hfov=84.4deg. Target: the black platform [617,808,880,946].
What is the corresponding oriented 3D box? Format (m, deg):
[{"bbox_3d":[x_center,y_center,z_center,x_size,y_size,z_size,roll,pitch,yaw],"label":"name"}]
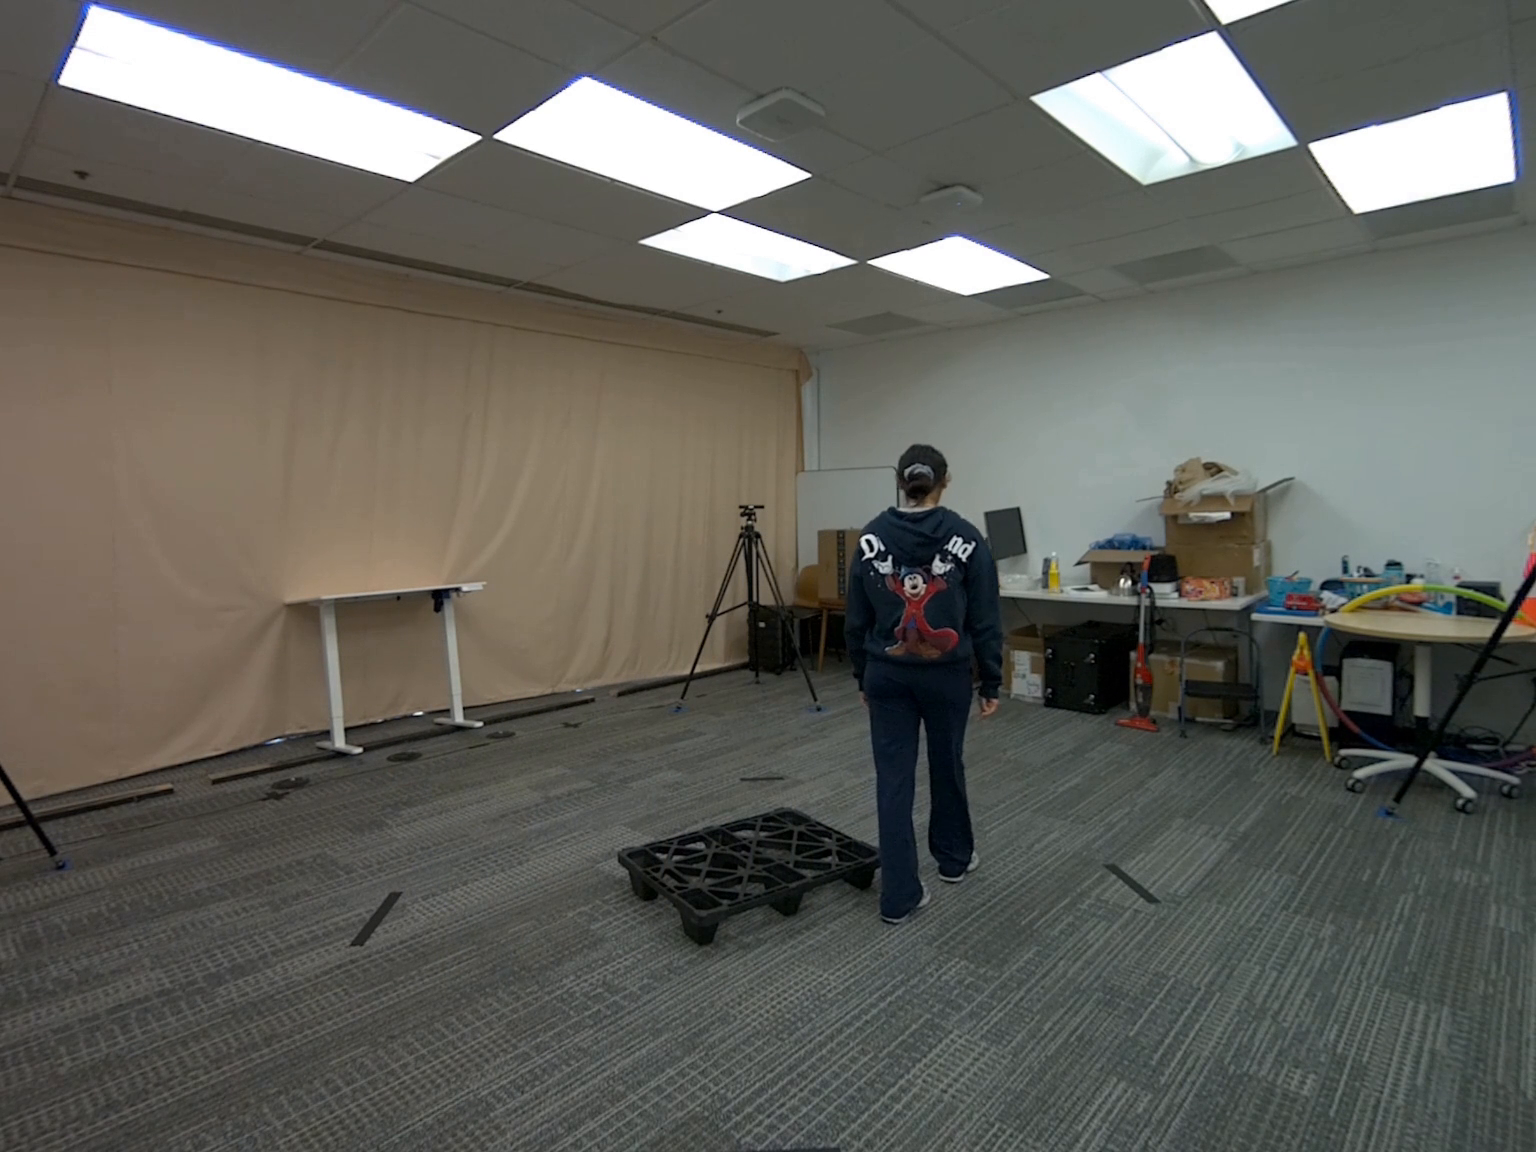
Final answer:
[{"bbox_3d":[-0.060,1.070,3.049,0.783,0.143,0.624,-4,5,-34],"label":"black platform"}]
